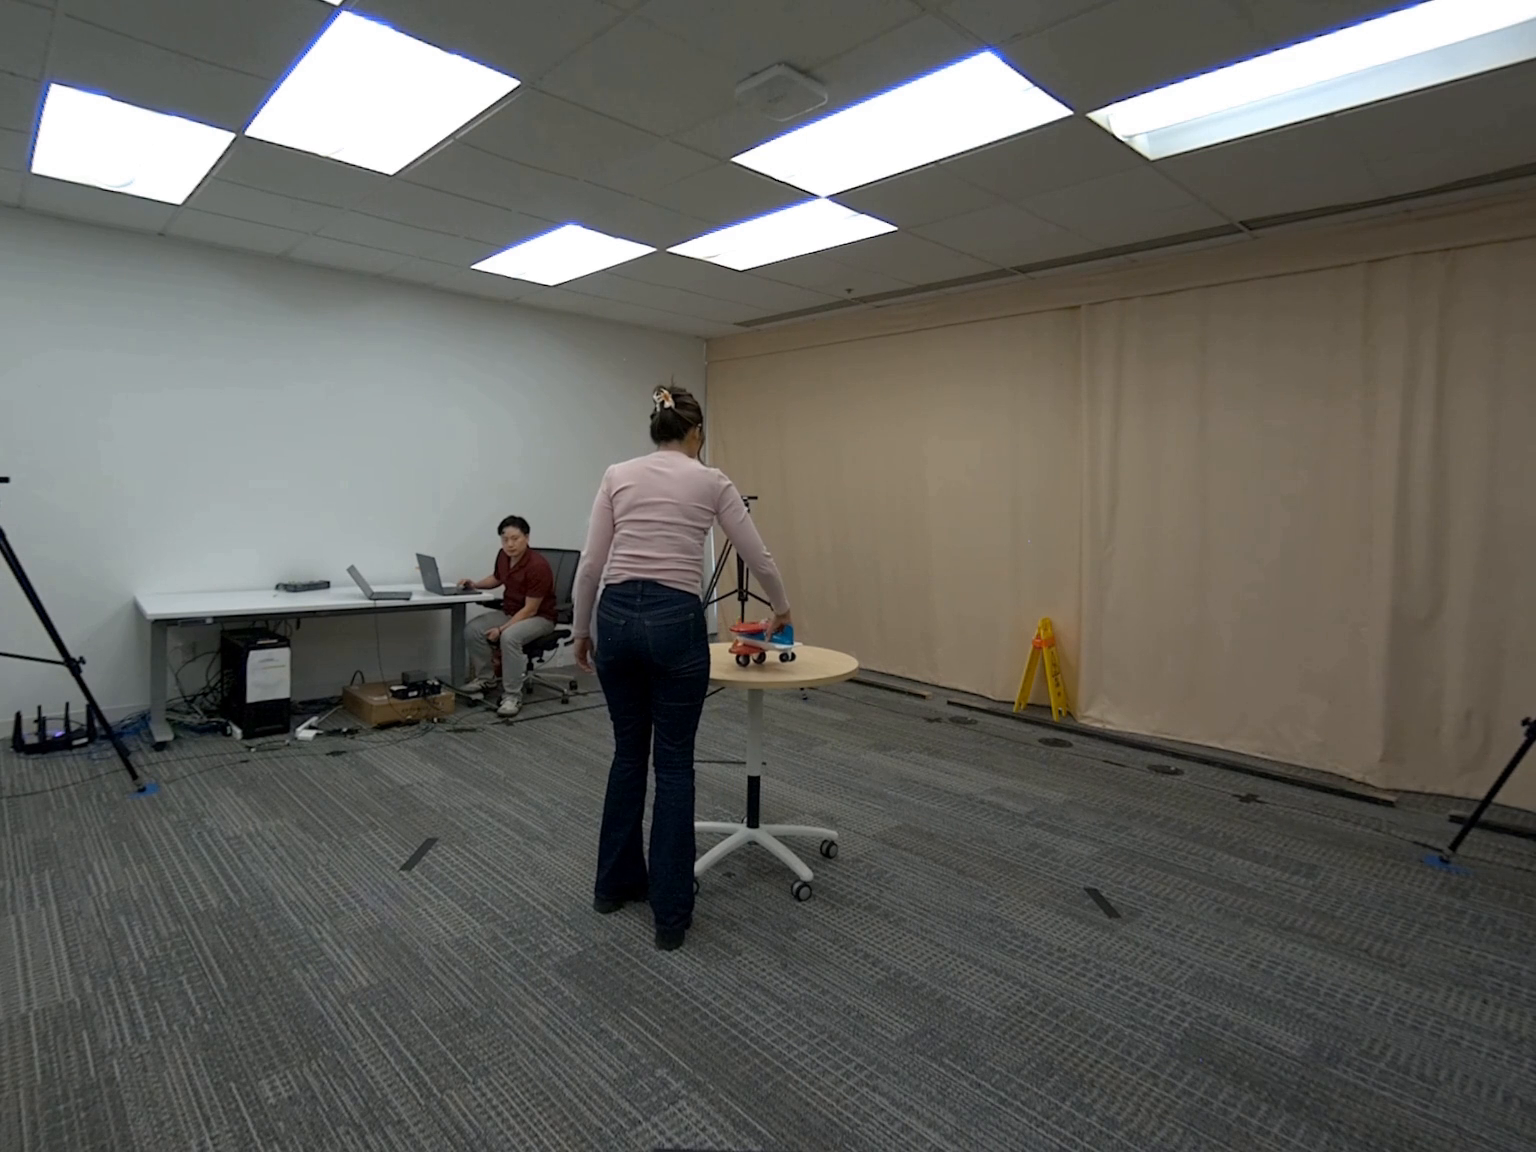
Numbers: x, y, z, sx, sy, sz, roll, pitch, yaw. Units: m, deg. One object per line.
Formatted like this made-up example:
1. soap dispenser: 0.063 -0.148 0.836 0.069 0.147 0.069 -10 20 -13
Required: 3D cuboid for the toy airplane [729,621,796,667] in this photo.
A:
1. toy airplane: -0.005 0.237 3.028 0.262 0.157 0.247 -9 -4 15
